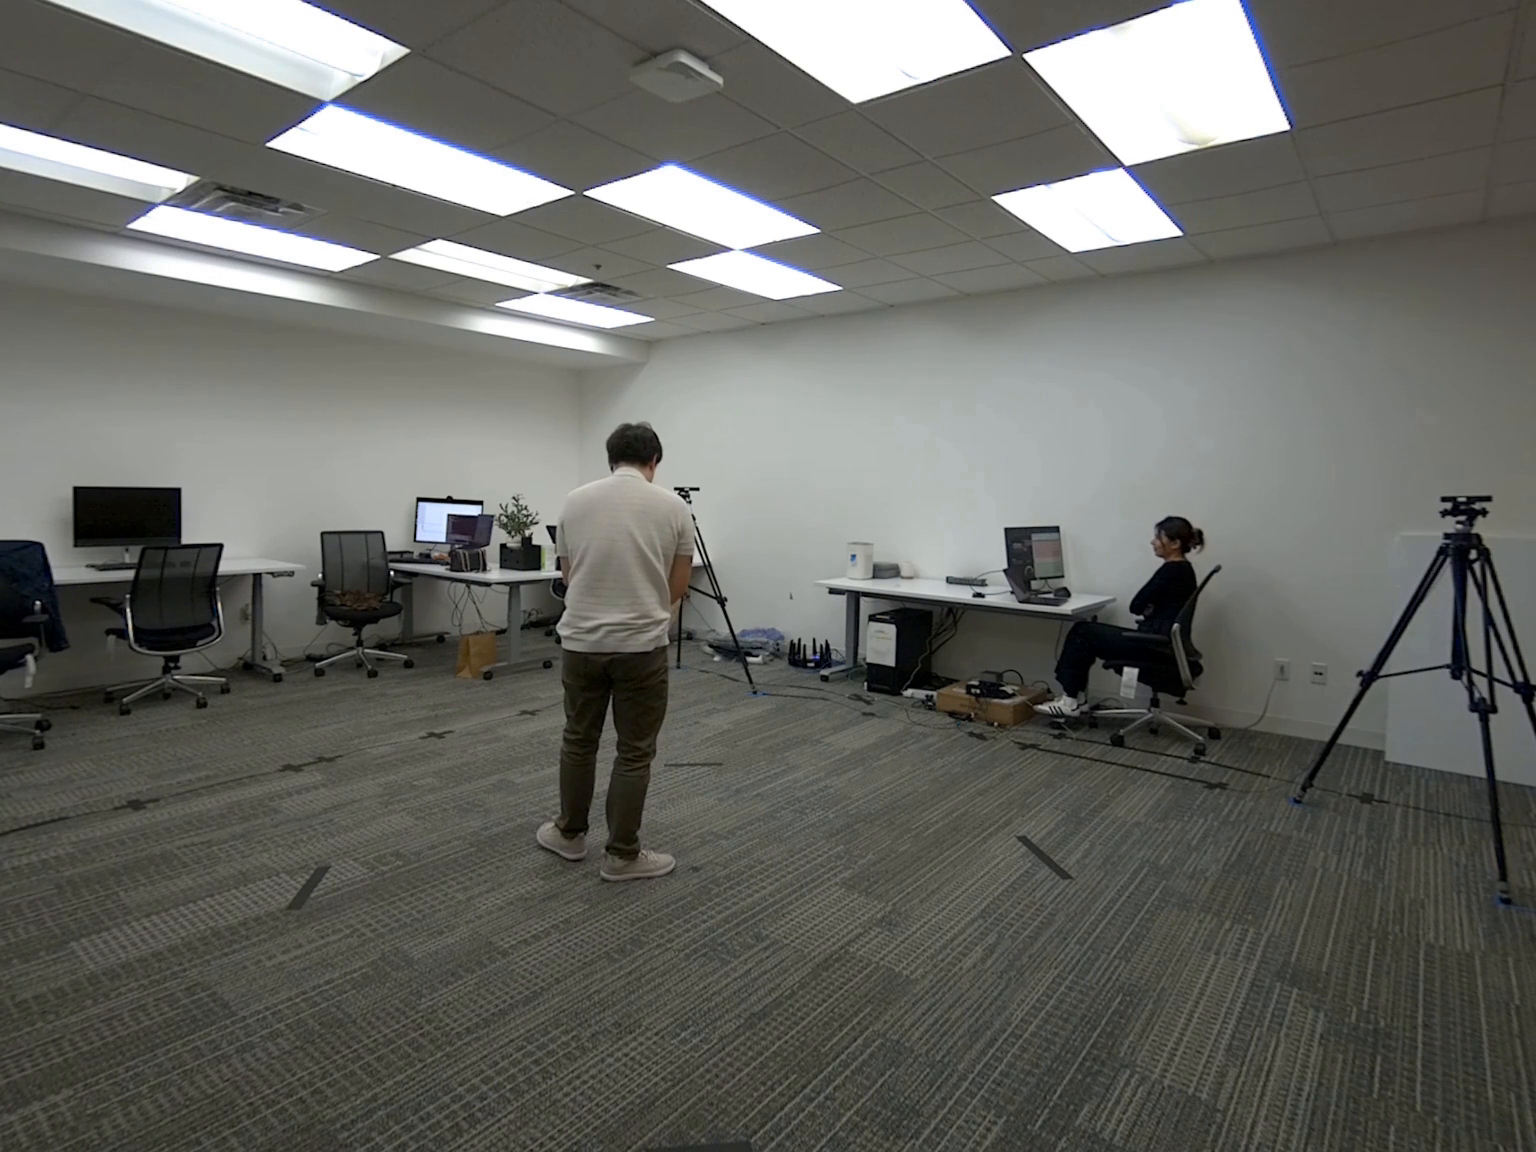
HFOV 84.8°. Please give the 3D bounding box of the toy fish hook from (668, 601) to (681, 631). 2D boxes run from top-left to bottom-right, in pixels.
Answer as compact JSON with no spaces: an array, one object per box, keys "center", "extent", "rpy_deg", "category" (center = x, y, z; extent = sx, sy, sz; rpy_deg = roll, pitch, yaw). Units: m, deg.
[{"center":[-0.477,0.198,3.485],"extent":[0.049,0.222,0.501],"rpy_deg":[11,13,15],"category":"toy fish hook"}]
